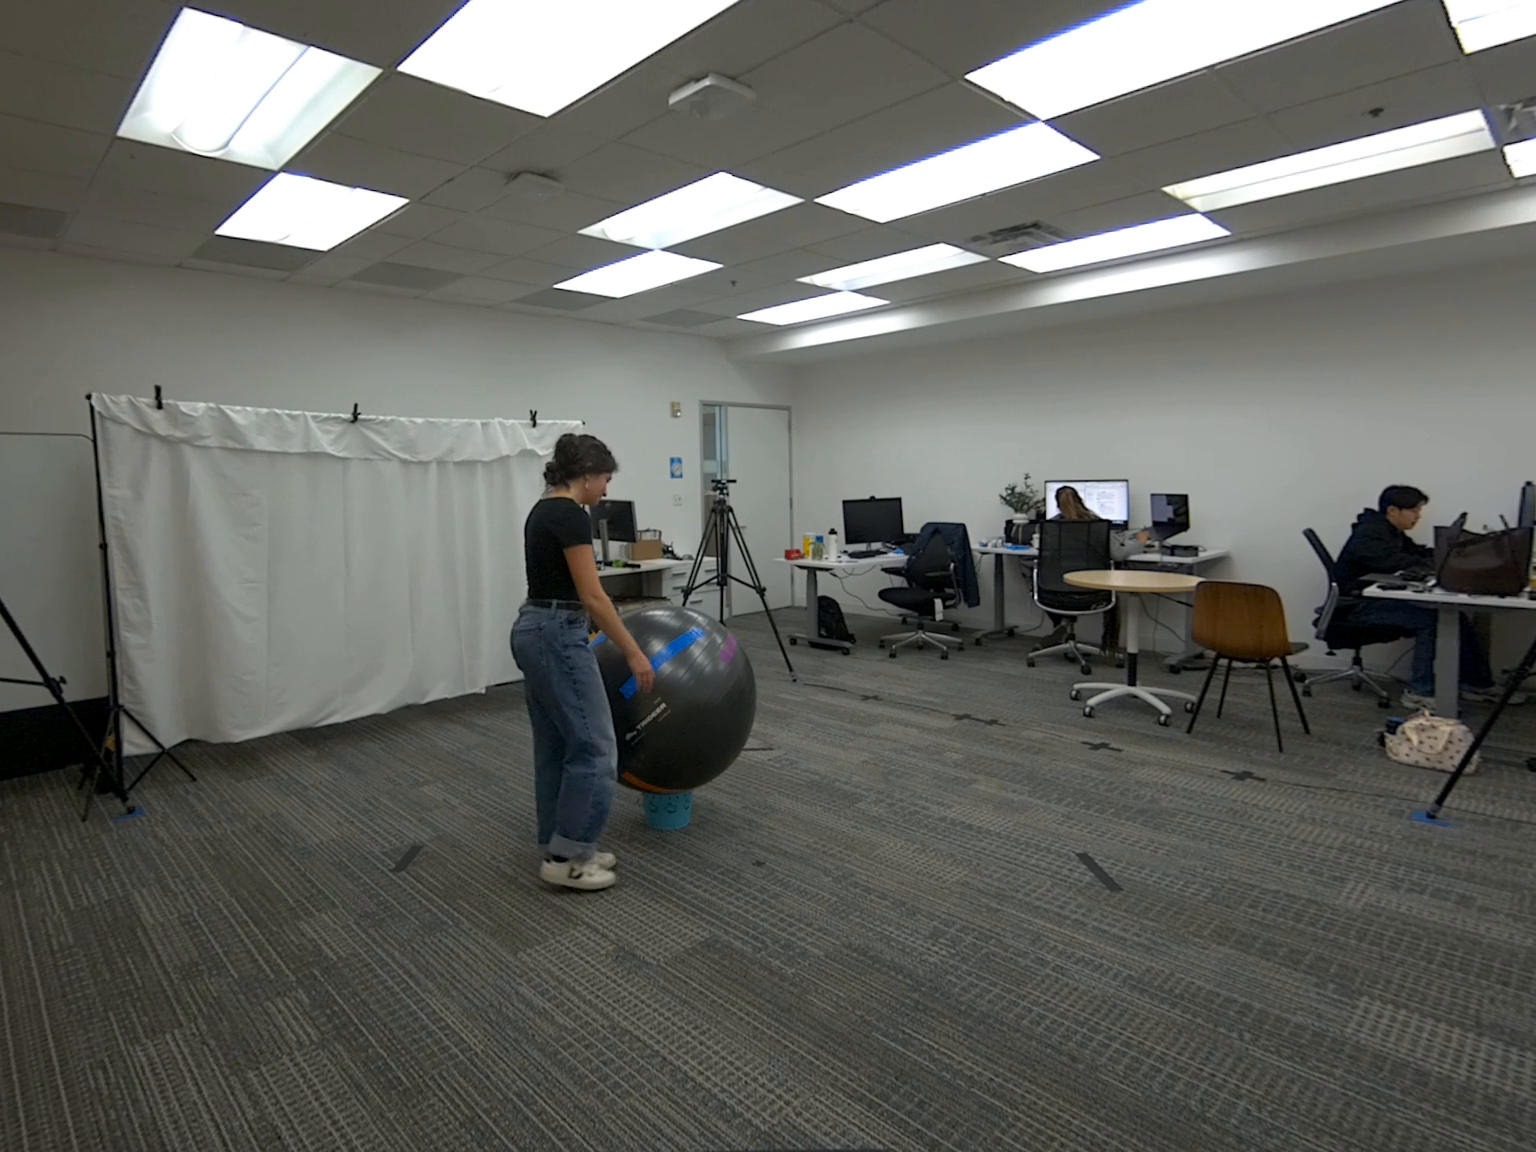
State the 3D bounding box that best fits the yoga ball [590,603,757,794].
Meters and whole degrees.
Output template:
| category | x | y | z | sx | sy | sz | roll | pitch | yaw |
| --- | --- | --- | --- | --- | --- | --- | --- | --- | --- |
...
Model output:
| category | x | y | z | sx | sy | sz | roll | pitch | yaw |
| --- | --- | --- | --- | --- | --- | --- | --- | --- | --- |
| yoga ball | -0.434 | 0.508 | 3.504 | 0.757 | 0.755 | 0.762 | -1 | 5 | -2 |
